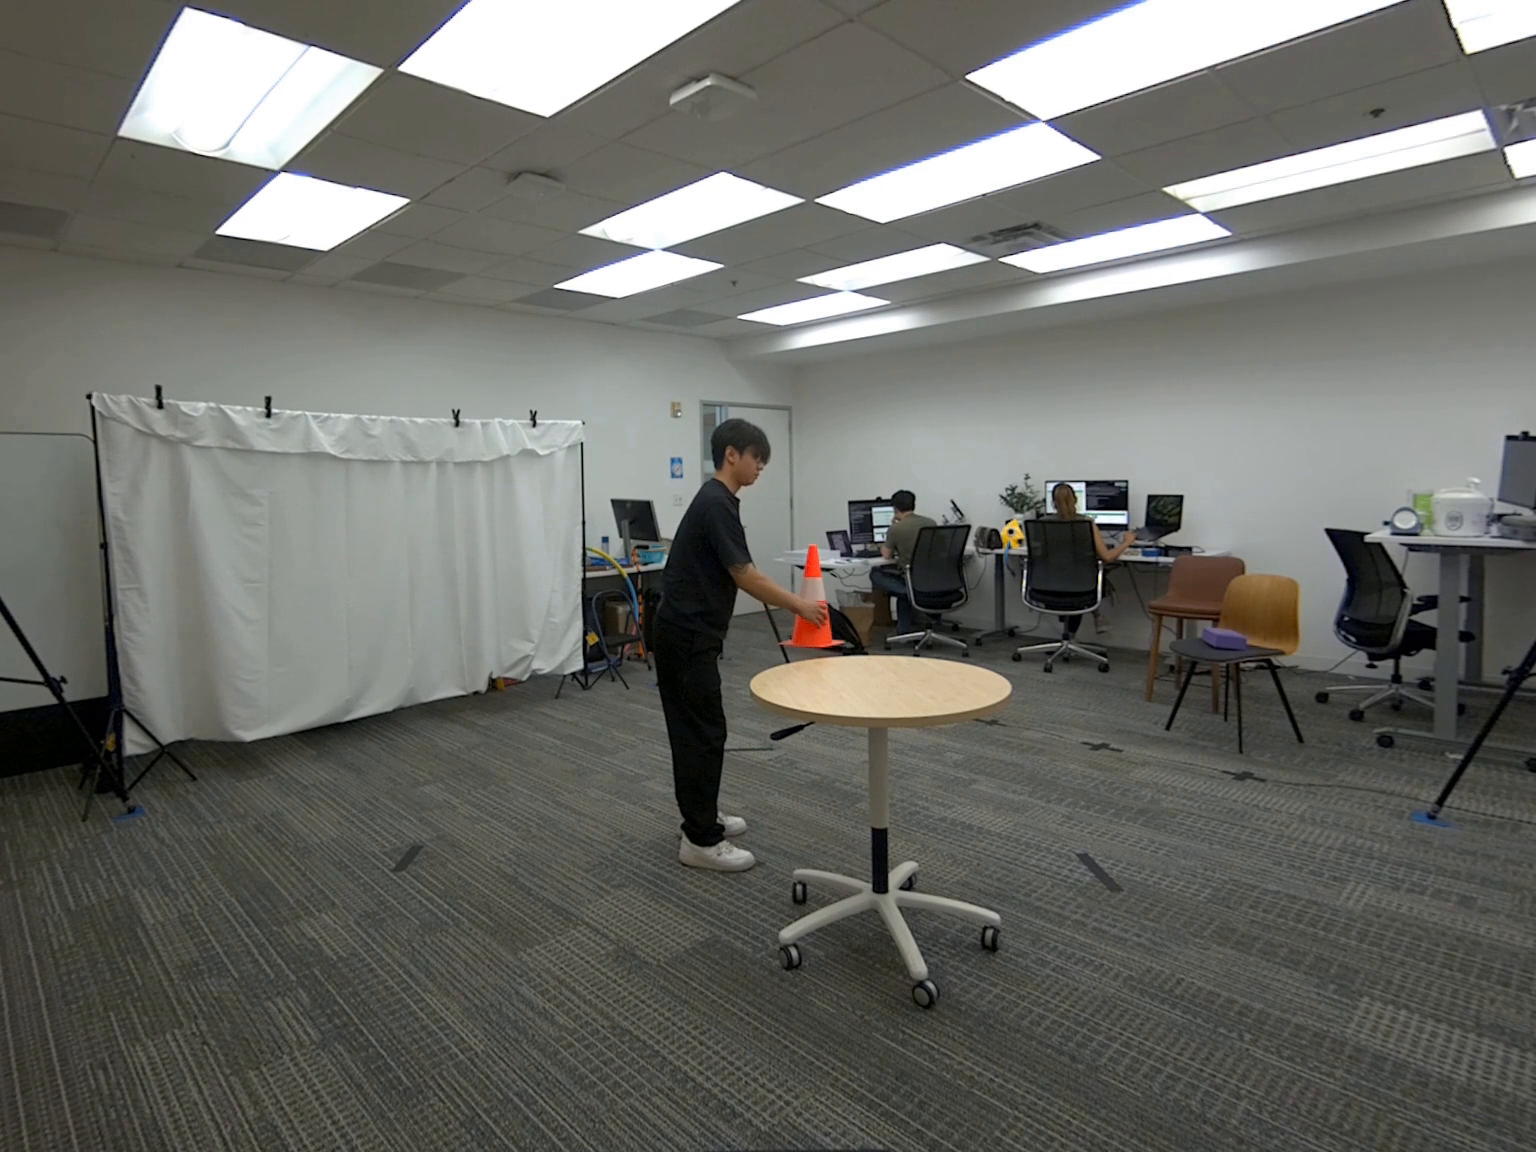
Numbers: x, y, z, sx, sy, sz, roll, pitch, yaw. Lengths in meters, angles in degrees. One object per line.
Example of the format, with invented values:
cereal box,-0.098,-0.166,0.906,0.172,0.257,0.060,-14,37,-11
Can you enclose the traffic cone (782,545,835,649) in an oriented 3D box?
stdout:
traffic cone,0.172,0.072,3.305,0.211,0.382,0.198,4,6,39
